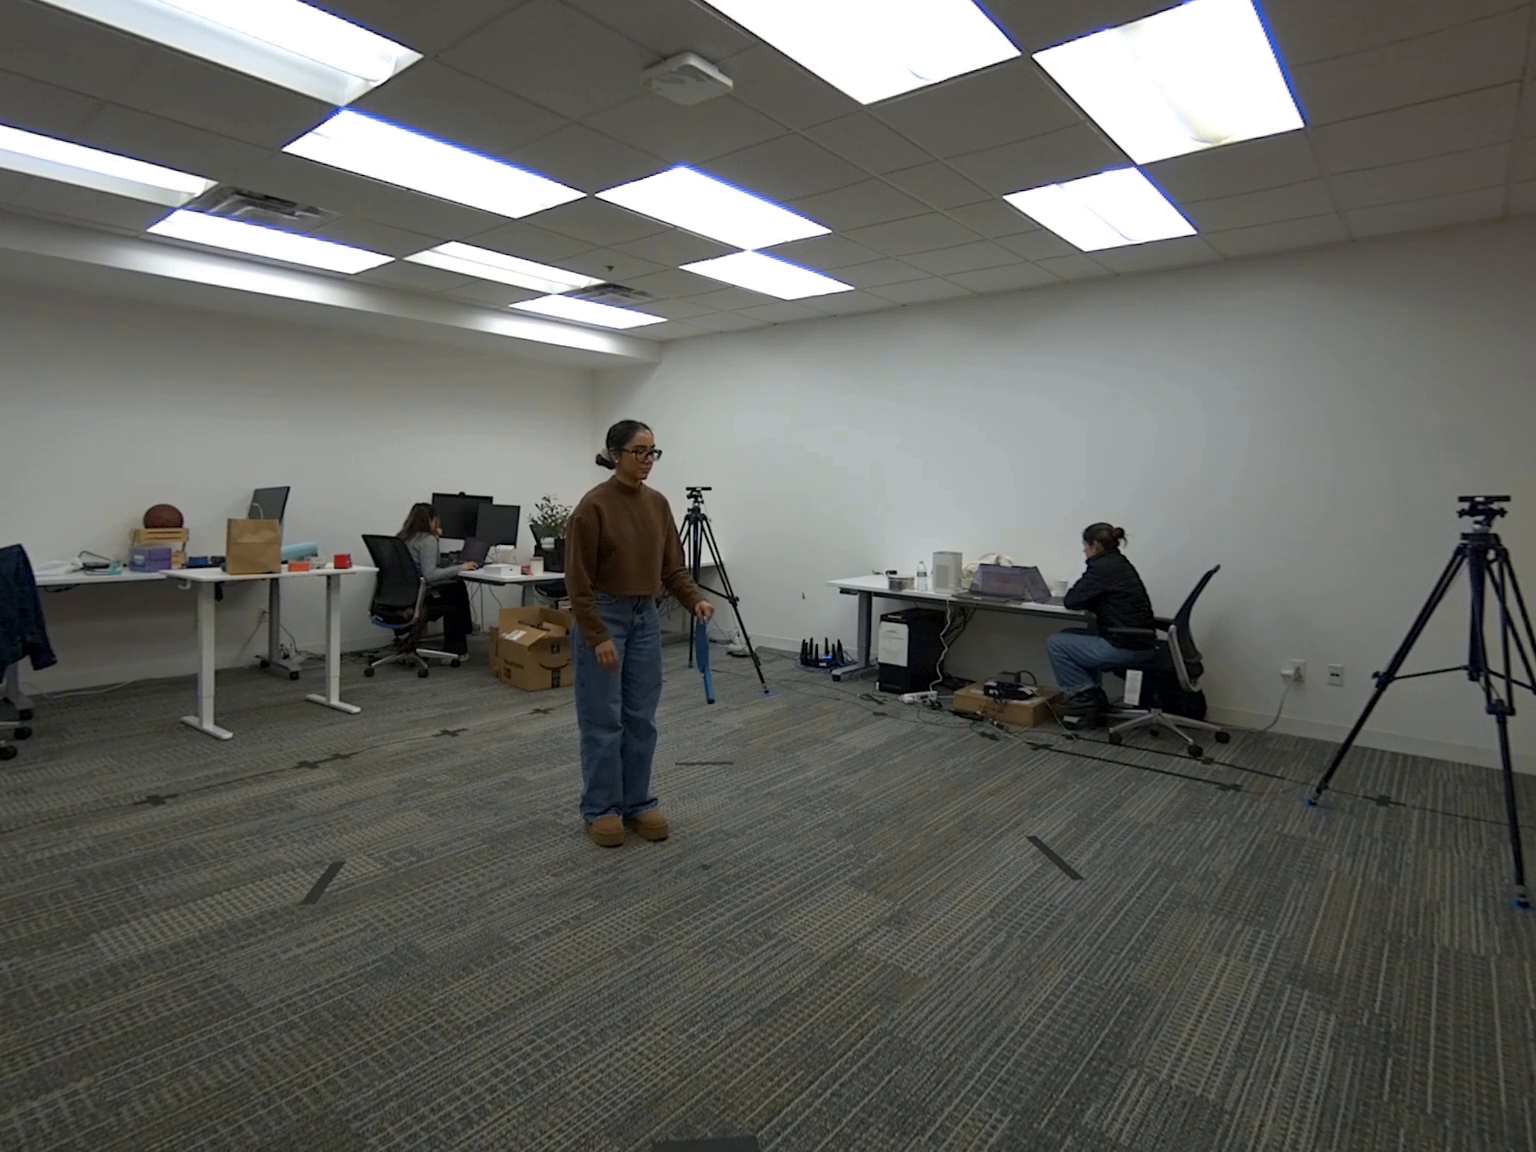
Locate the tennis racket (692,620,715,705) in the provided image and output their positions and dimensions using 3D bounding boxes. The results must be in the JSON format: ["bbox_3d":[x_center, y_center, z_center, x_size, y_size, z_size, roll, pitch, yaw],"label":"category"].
[{"bbox_3d":[-0.268,0.311,3.265,0.031,0.210,0.449,1,39,-19],"label":"tennis racket"}]
